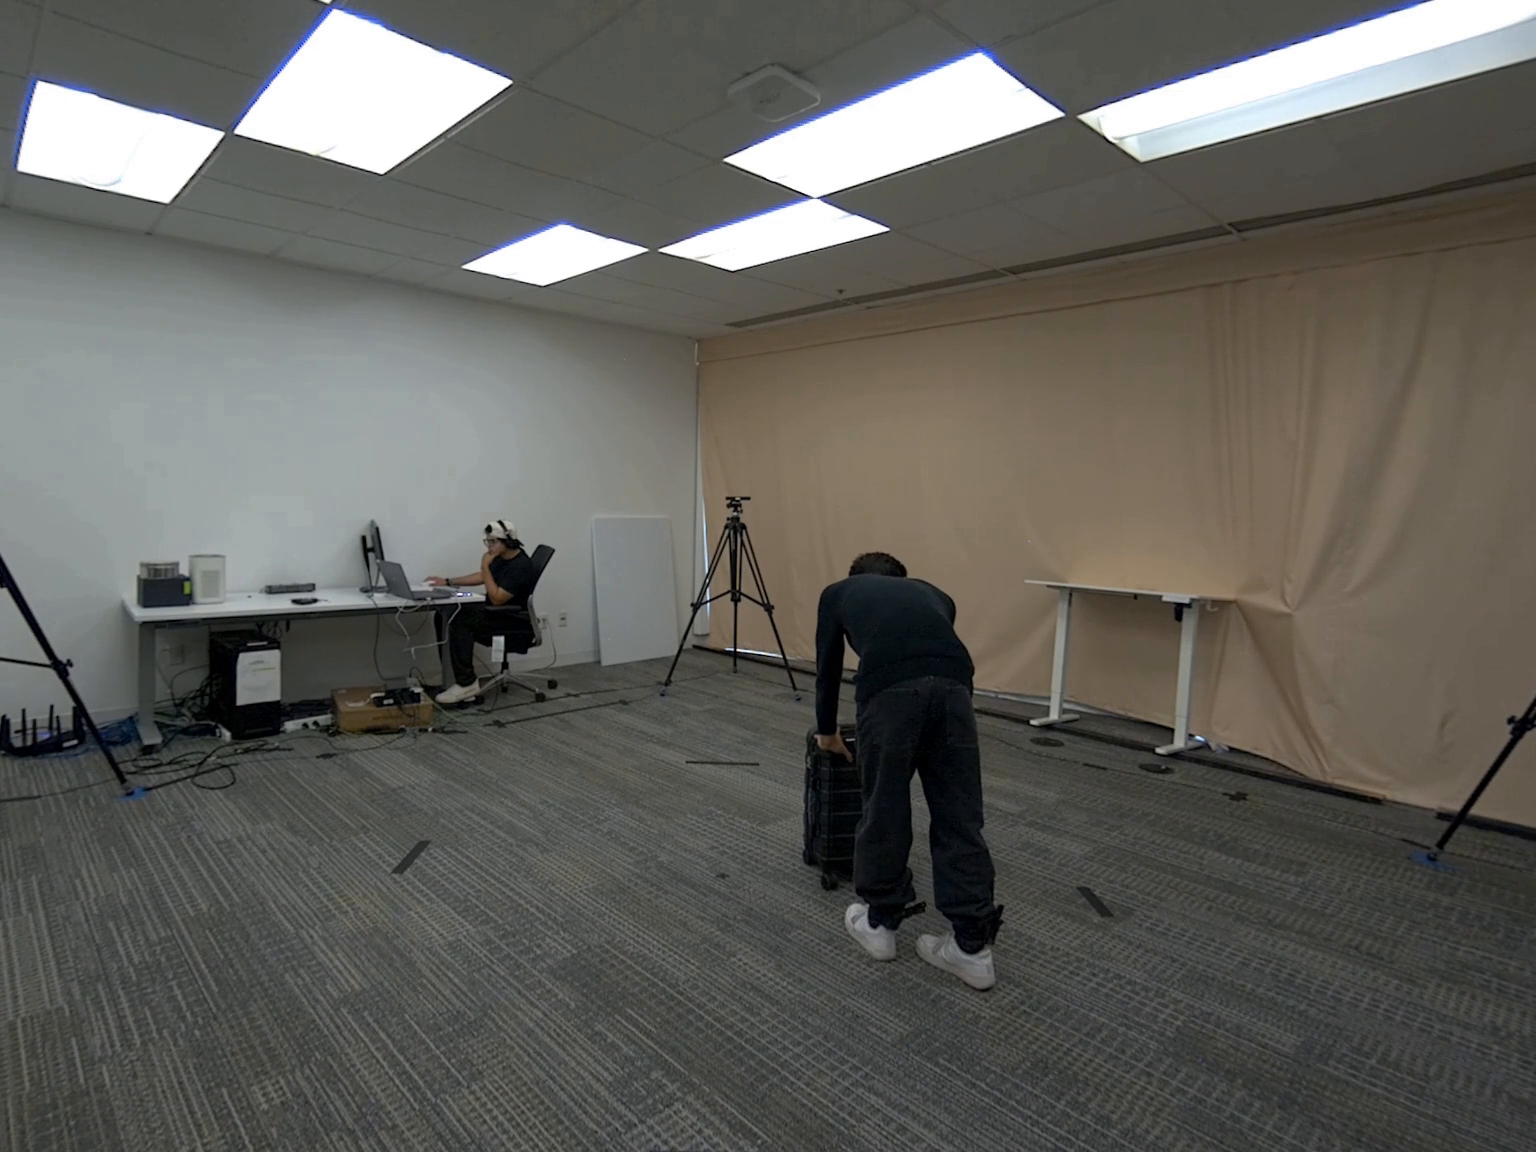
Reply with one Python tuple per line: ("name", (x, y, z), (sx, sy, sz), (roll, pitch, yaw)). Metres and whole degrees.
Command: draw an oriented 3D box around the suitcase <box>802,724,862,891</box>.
("suitcase", (0.320, 0.841, 3.161), (0.371, 0.549, 0.251), (0, 1, -13))
